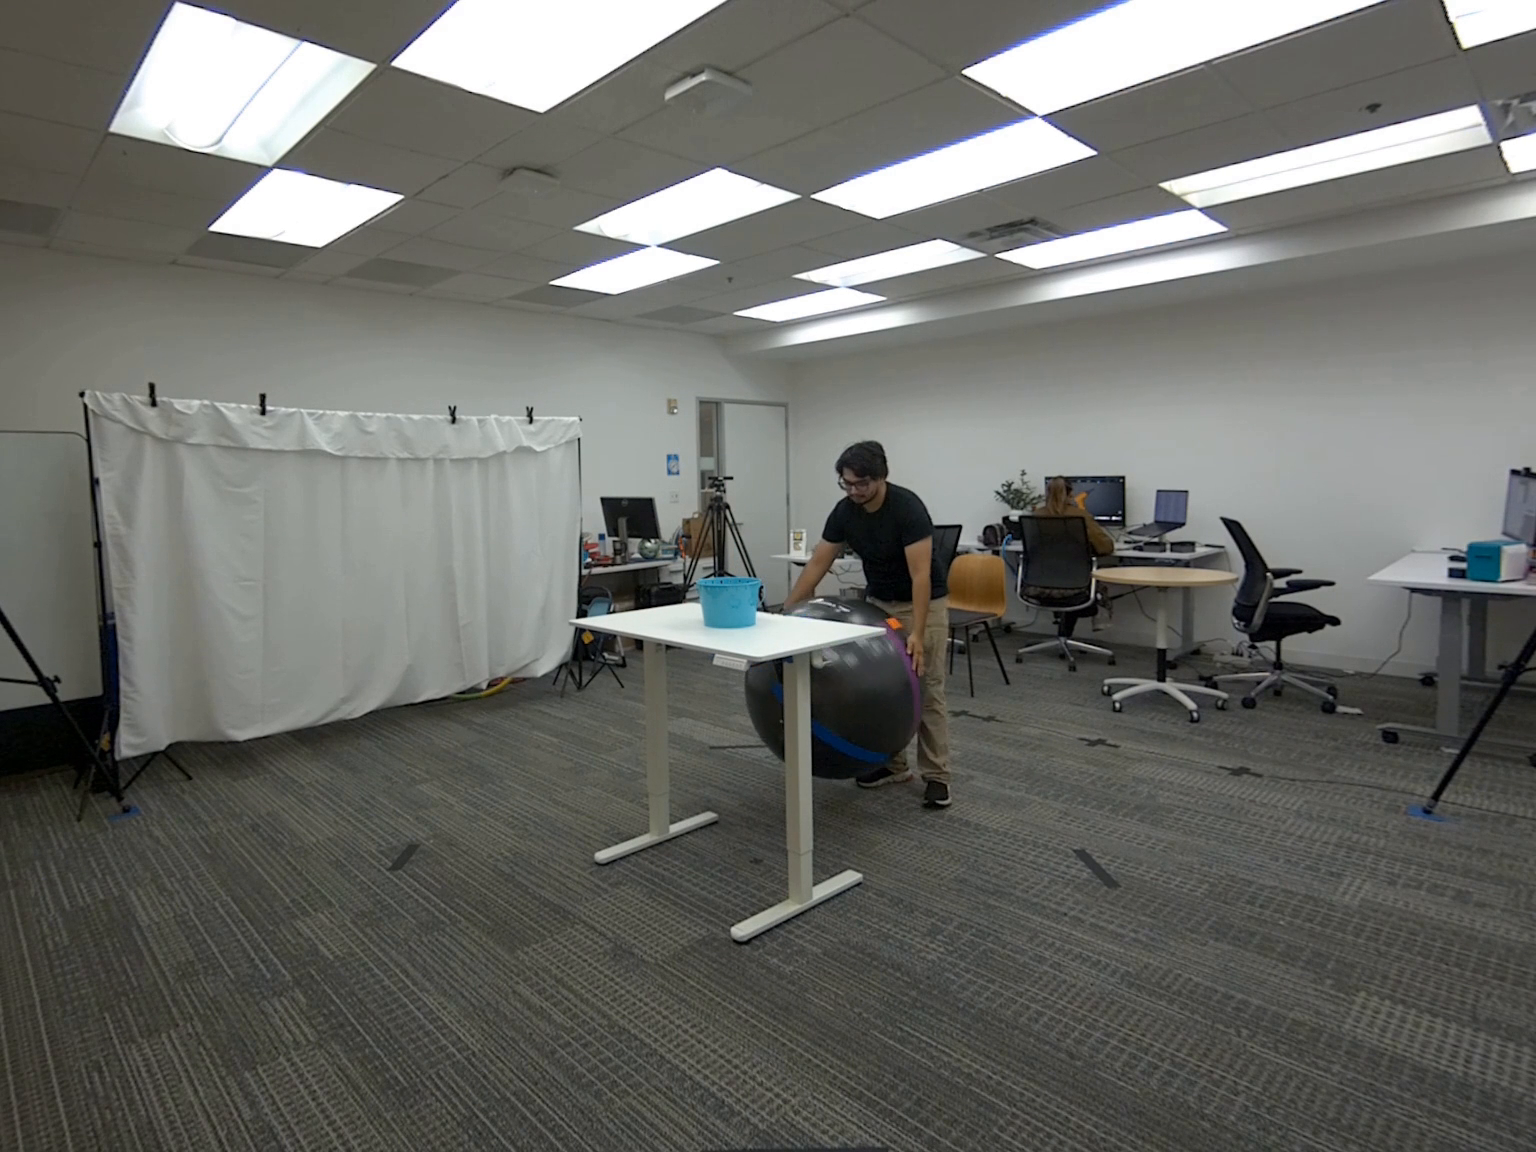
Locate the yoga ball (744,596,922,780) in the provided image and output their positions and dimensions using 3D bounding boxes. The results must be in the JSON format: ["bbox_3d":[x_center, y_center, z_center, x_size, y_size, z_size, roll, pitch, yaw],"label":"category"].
[{"bbox_3d":[0.281,0.473,3.604,0.757,0.755,0.762,-1,5,-2],"label":"yoga ball"}]
